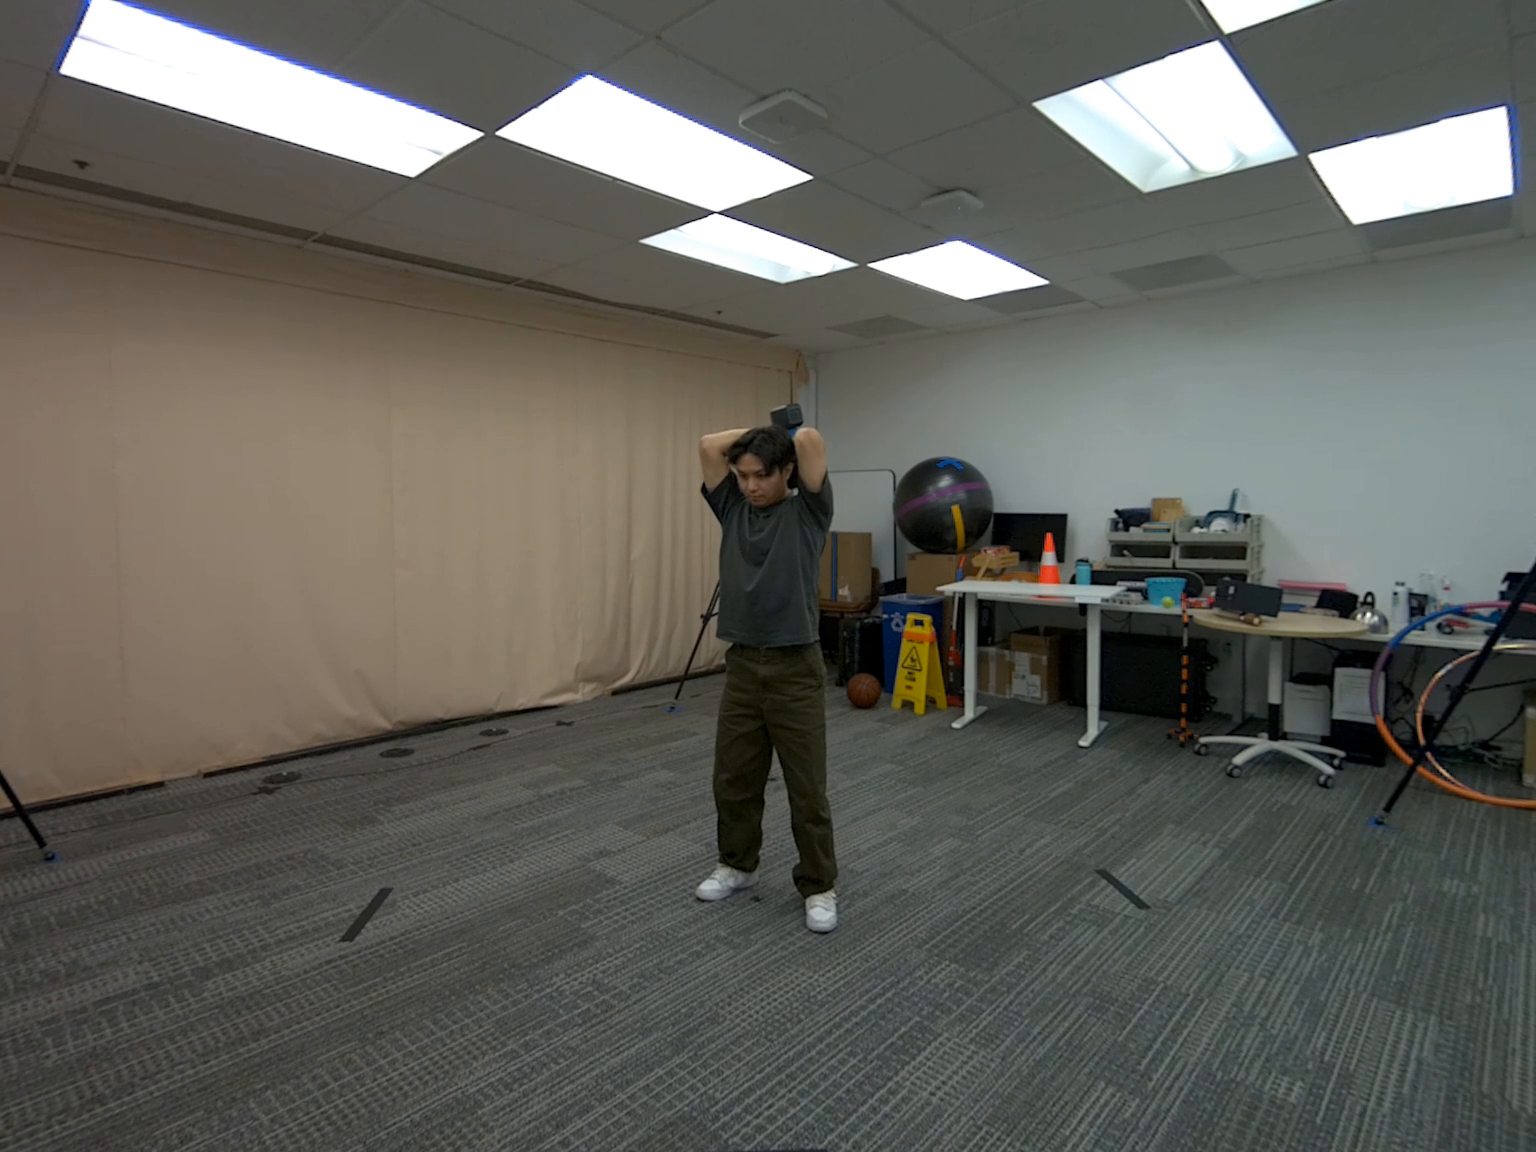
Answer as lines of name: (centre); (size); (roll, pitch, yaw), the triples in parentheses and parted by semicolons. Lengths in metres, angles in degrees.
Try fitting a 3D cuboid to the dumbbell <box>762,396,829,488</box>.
dumbbell: (0.093, -0.468, 2.979); (0.120, 0.293, 0.111); (-15, 0, -28)
